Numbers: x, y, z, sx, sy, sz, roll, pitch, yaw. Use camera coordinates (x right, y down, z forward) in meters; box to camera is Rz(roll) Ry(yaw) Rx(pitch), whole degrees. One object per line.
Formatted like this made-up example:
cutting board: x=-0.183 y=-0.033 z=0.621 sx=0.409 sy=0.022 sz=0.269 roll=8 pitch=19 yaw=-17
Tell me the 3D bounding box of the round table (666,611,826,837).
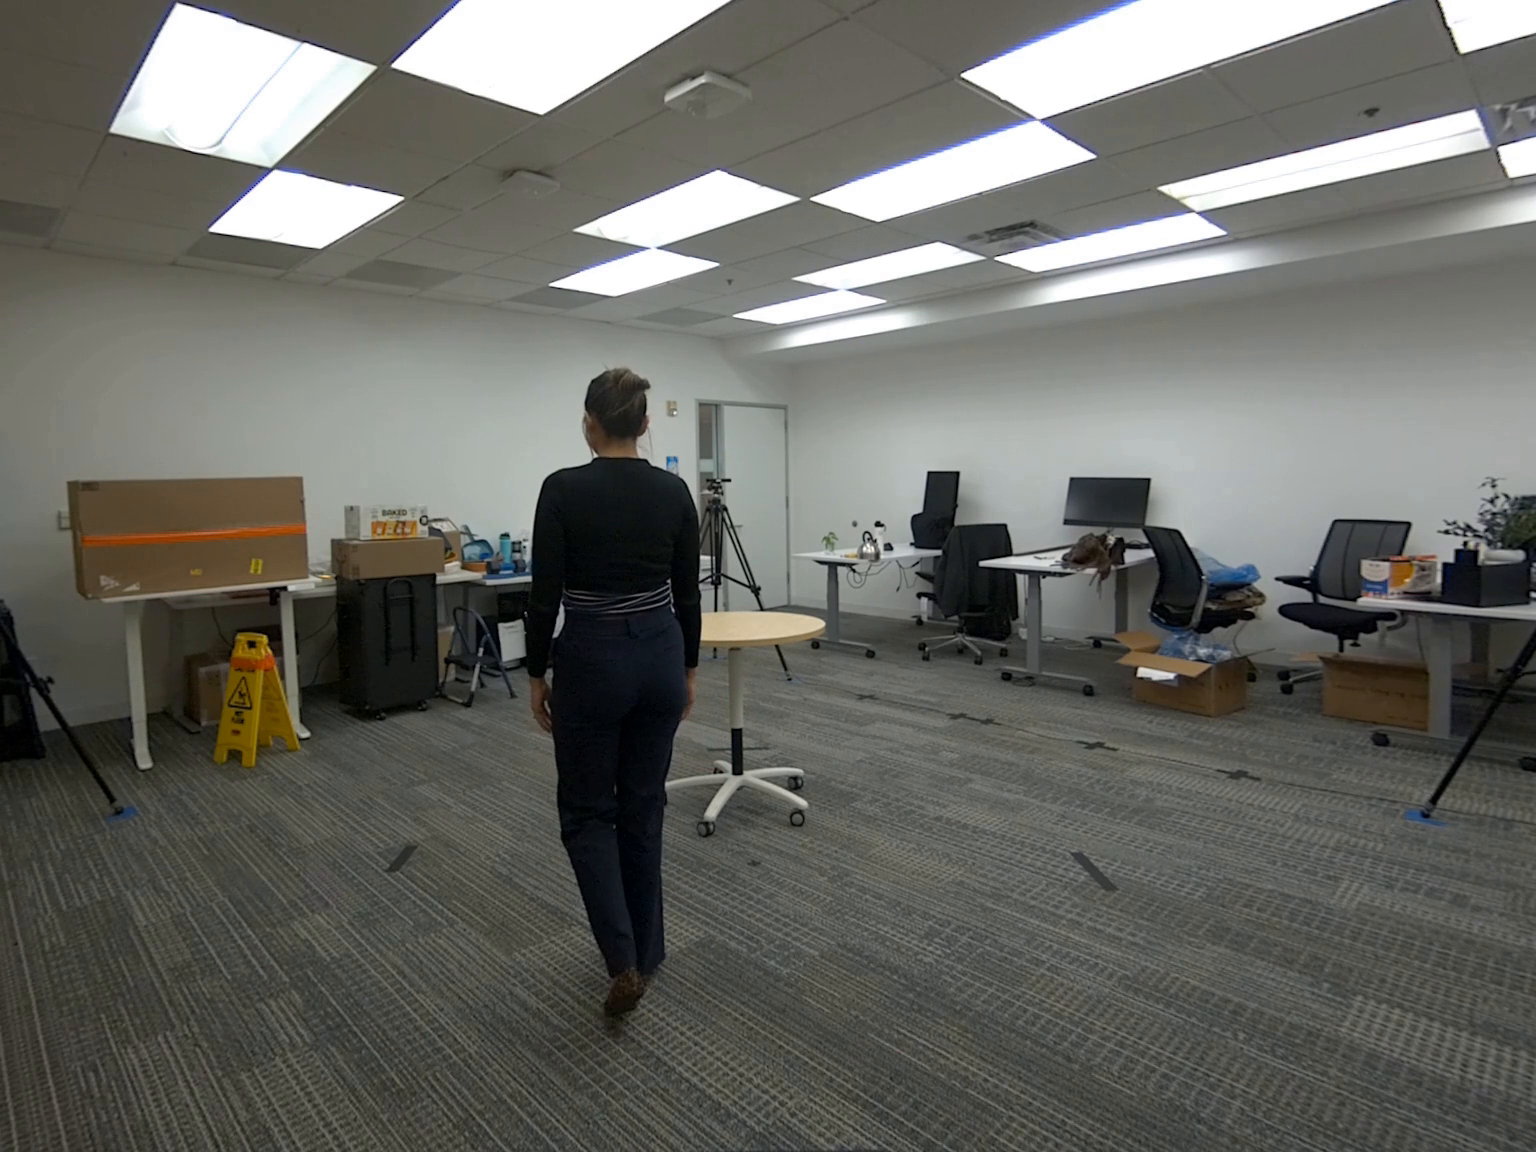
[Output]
round table: x=-0.129 y=0.598 z=3.631 sx=0.763 sy=0.791 sz=0.767 roll=-1 pitch=4 yaw=-2
